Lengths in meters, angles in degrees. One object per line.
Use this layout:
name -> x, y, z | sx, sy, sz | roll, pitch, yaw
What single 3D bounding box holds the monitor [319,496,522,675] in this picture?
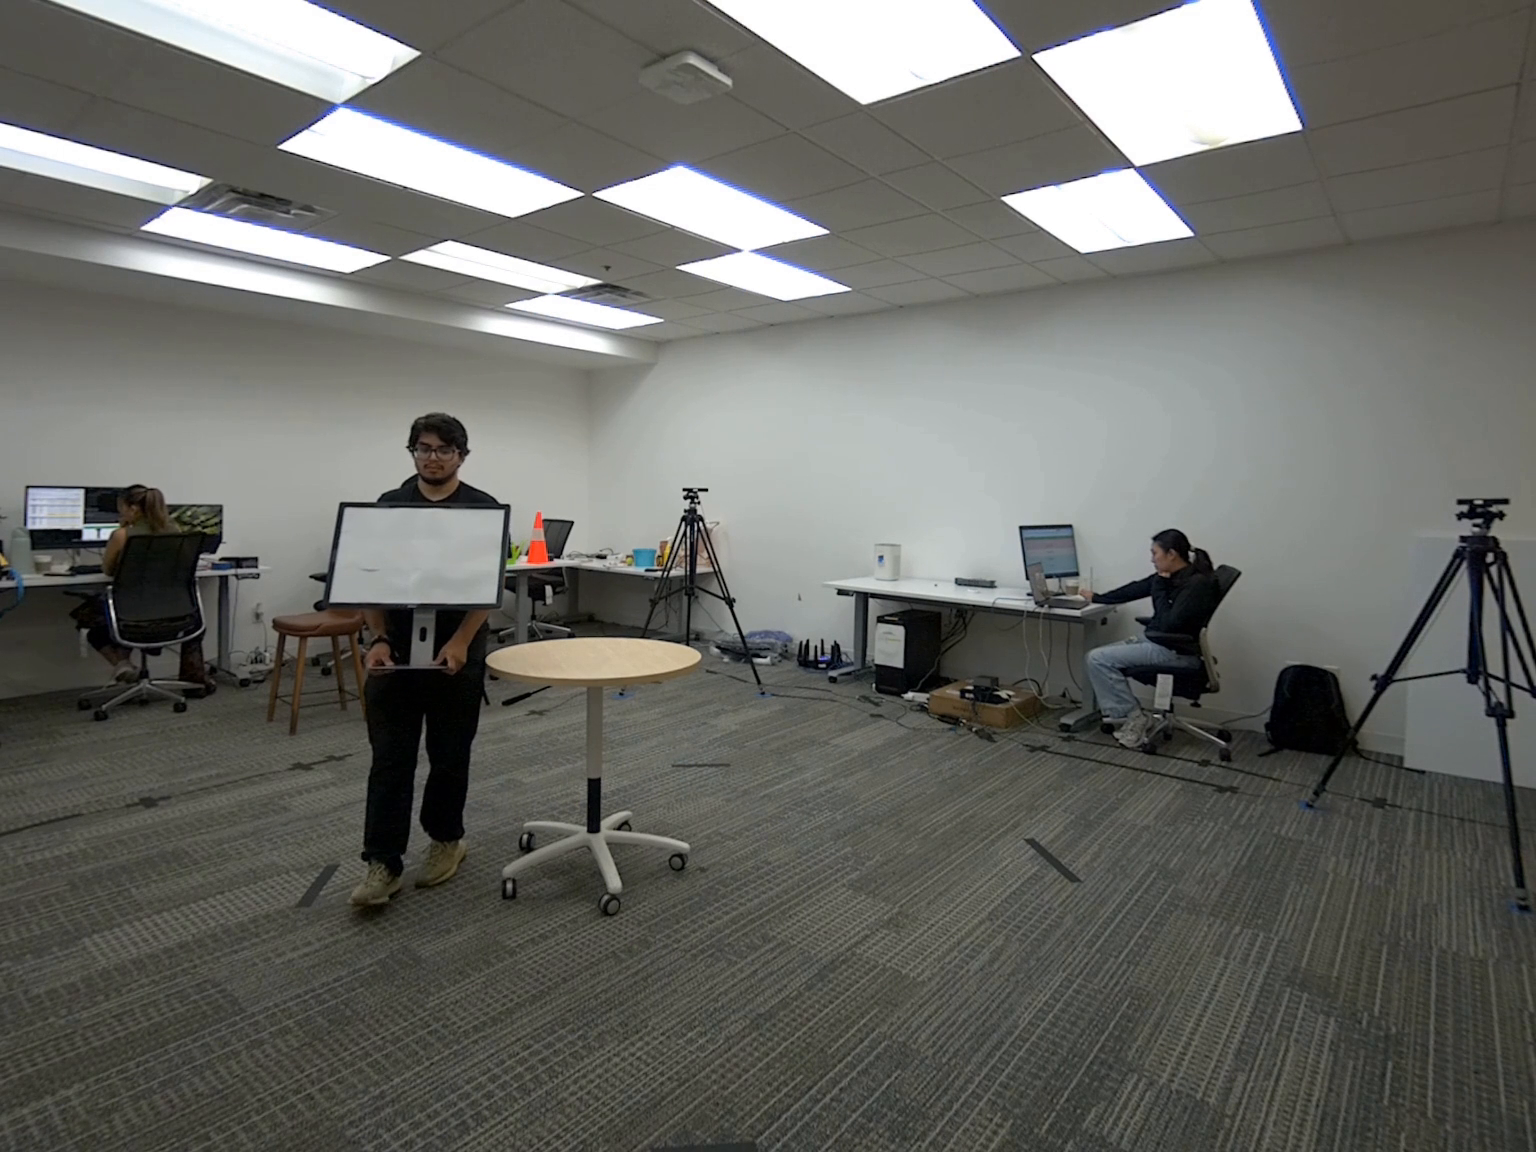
monitor -> -1.139, 0.032, 2.805 | 0.563, 0.562, 0.208 | -1, -14, -4
